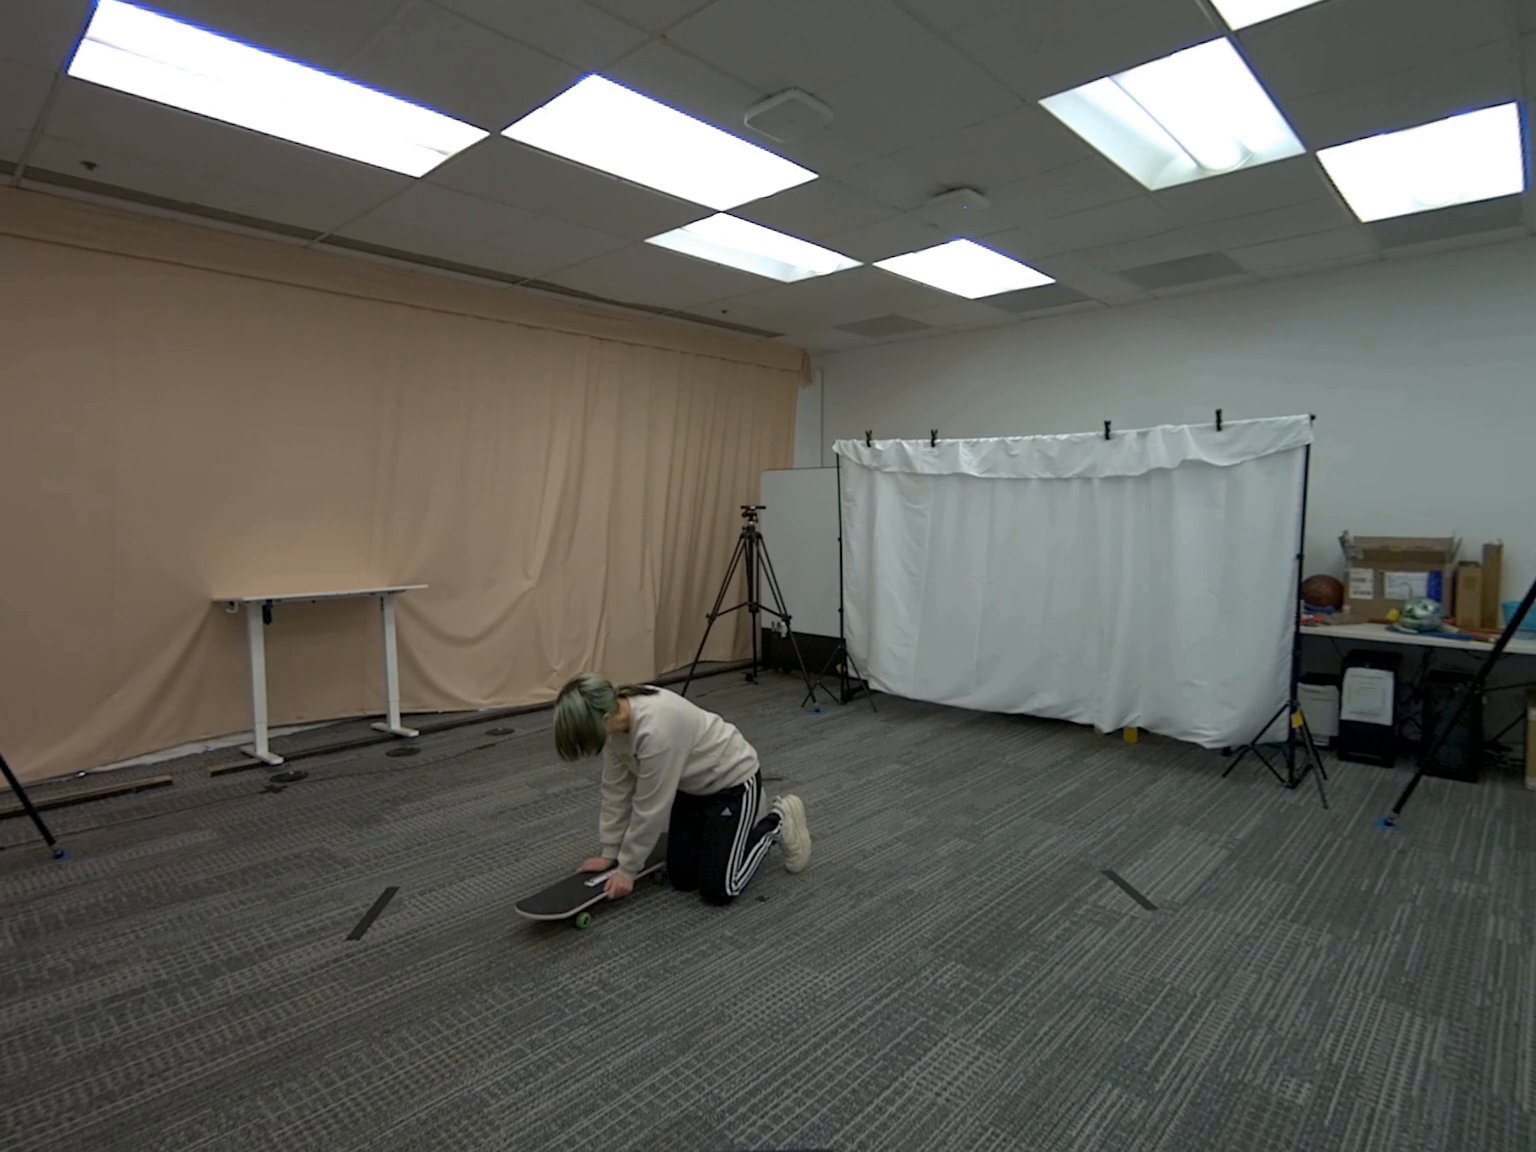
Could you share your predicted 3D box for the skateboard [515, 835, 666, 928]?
[{"bbox_3d":[-0.569,1.098,2.988,0.199,0.110,0.763,2,4,34],"label":"skateboard"}]
